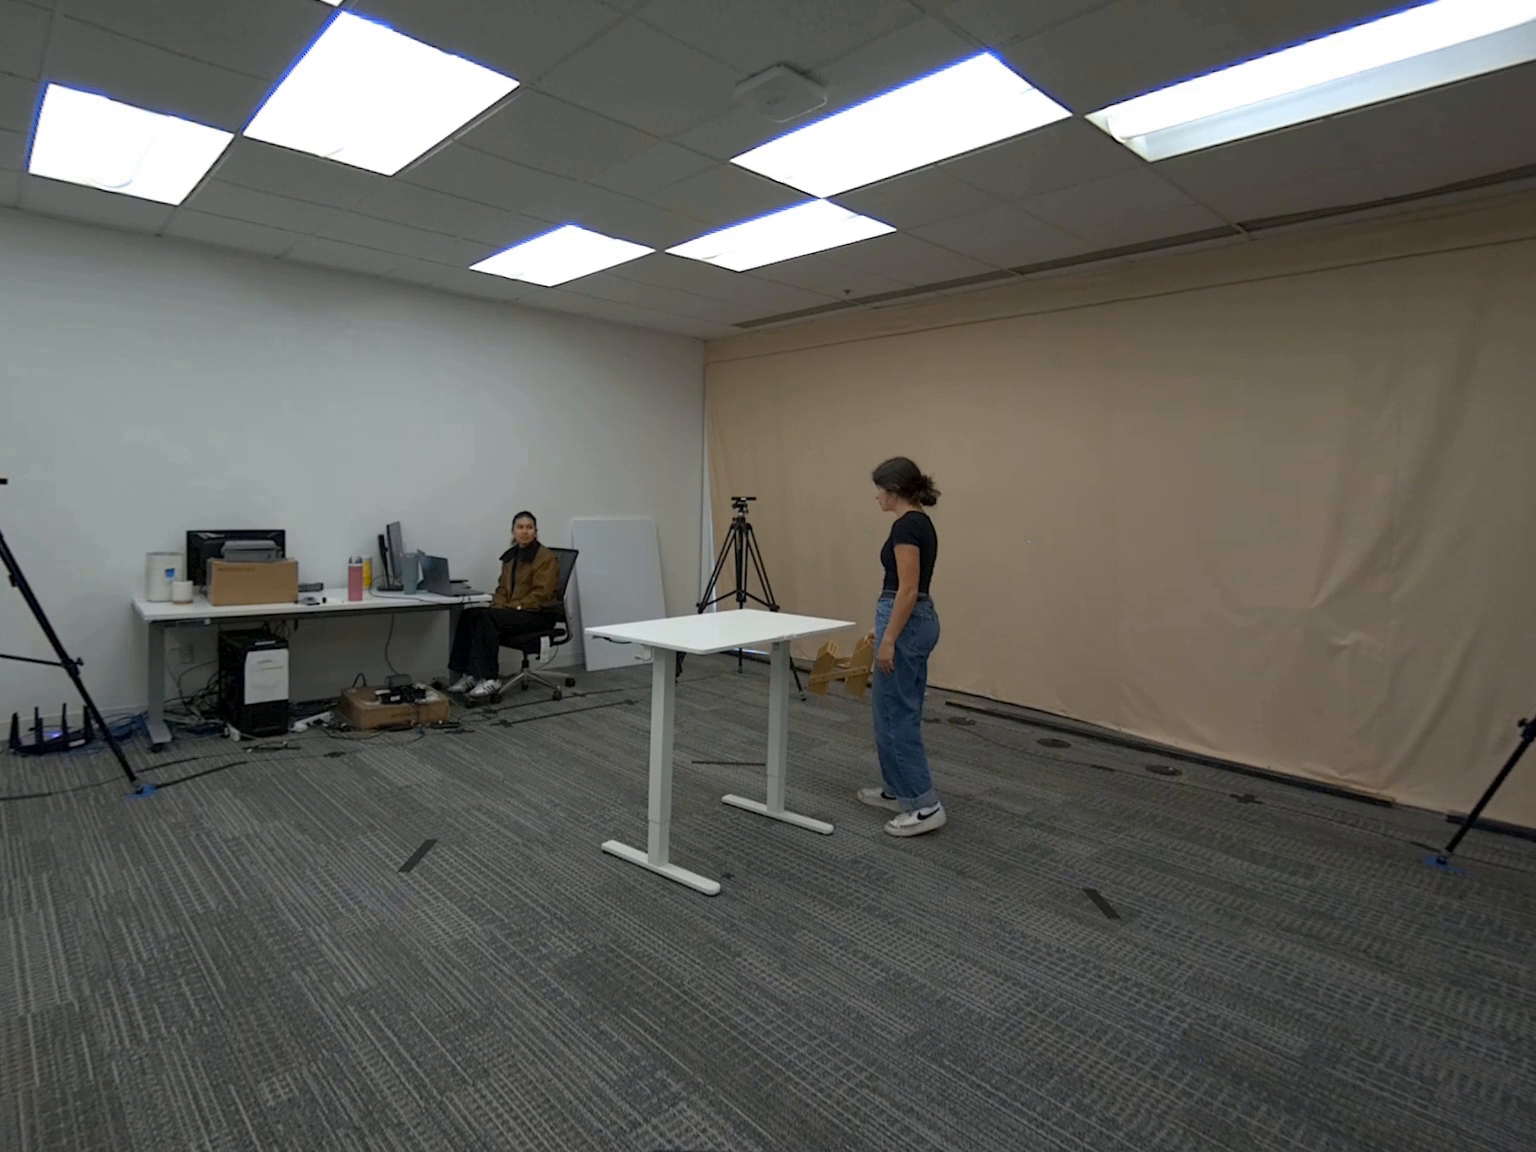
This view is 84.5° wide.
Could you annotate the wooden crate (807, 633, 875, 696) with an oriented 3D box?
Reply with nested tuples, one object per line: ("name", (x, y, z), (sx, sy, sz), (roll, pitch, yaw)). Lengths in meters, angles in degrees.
("wooden crate", (0.345, 0.411, 4.064), (0.275, 0.301, 0.323), (17, 8, 6))
